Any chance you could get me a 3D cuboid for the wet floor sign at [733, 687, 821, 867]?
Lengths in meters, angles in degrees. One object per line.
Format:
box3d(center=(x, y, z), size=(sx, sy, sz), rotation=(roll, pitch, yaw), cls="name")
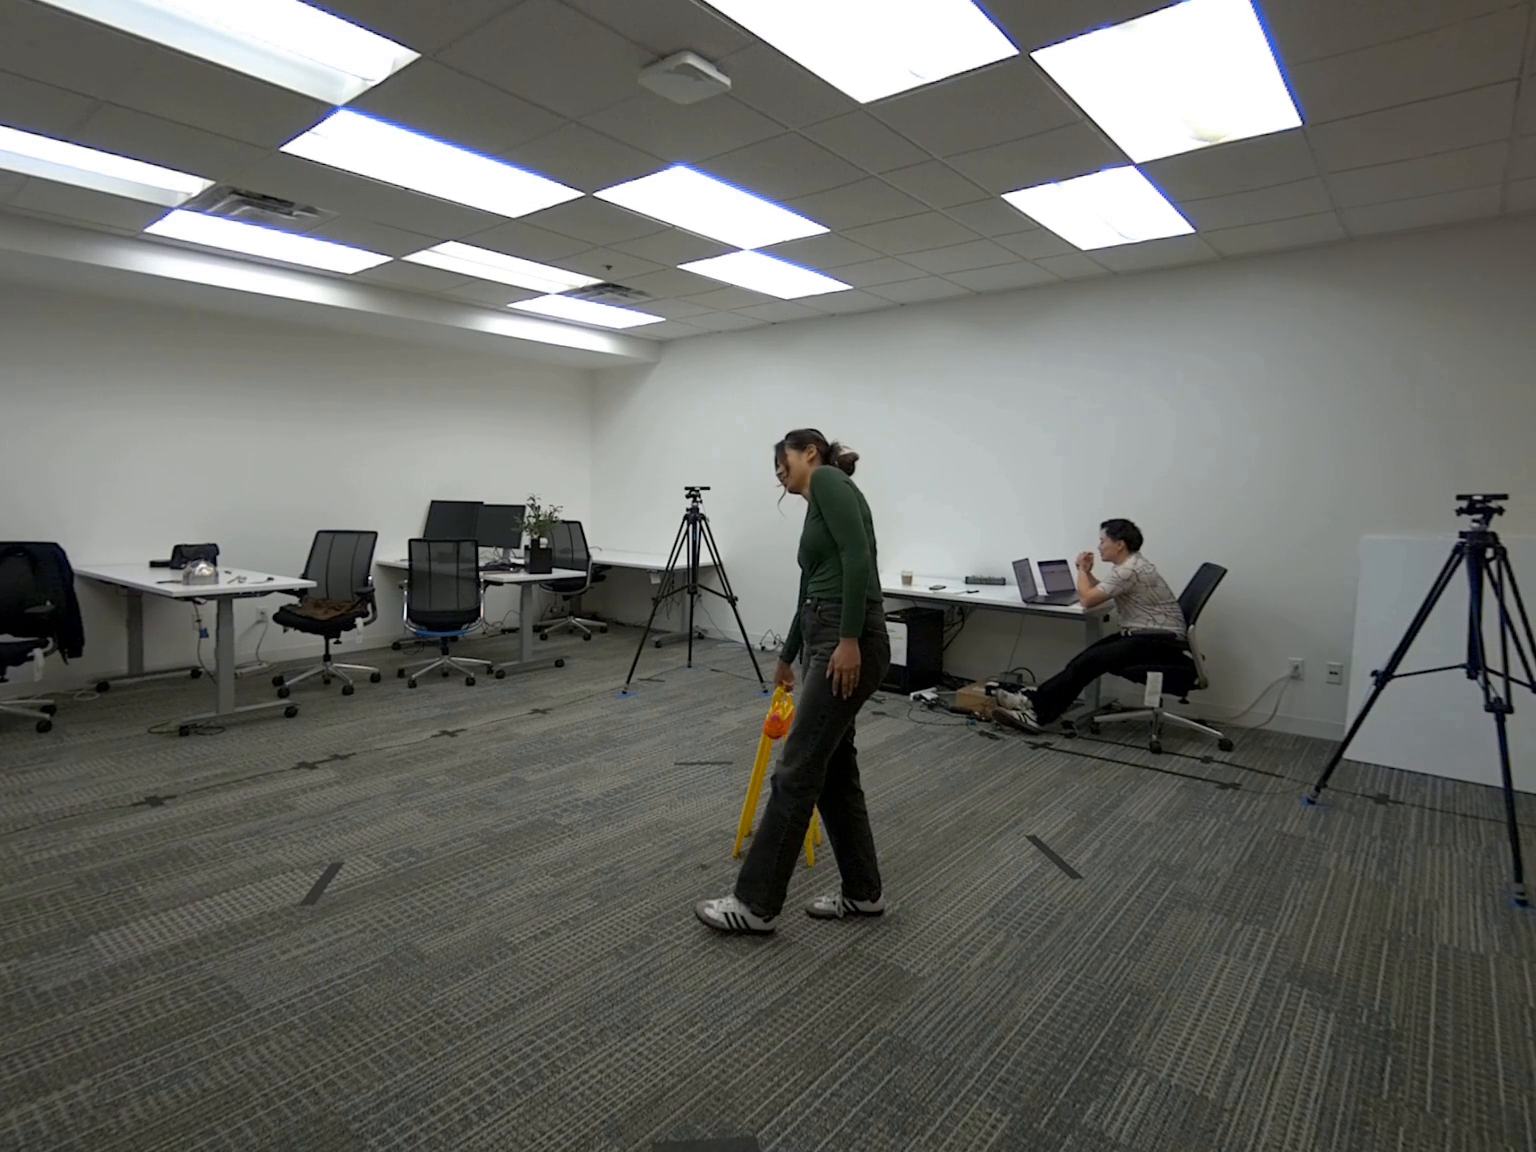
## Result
box3d(center=(0.033, 0.728, 3.278), size=(0.294, 0.645, 0.278), rotation=(1, 1, 13), cls="wet floor sign")
